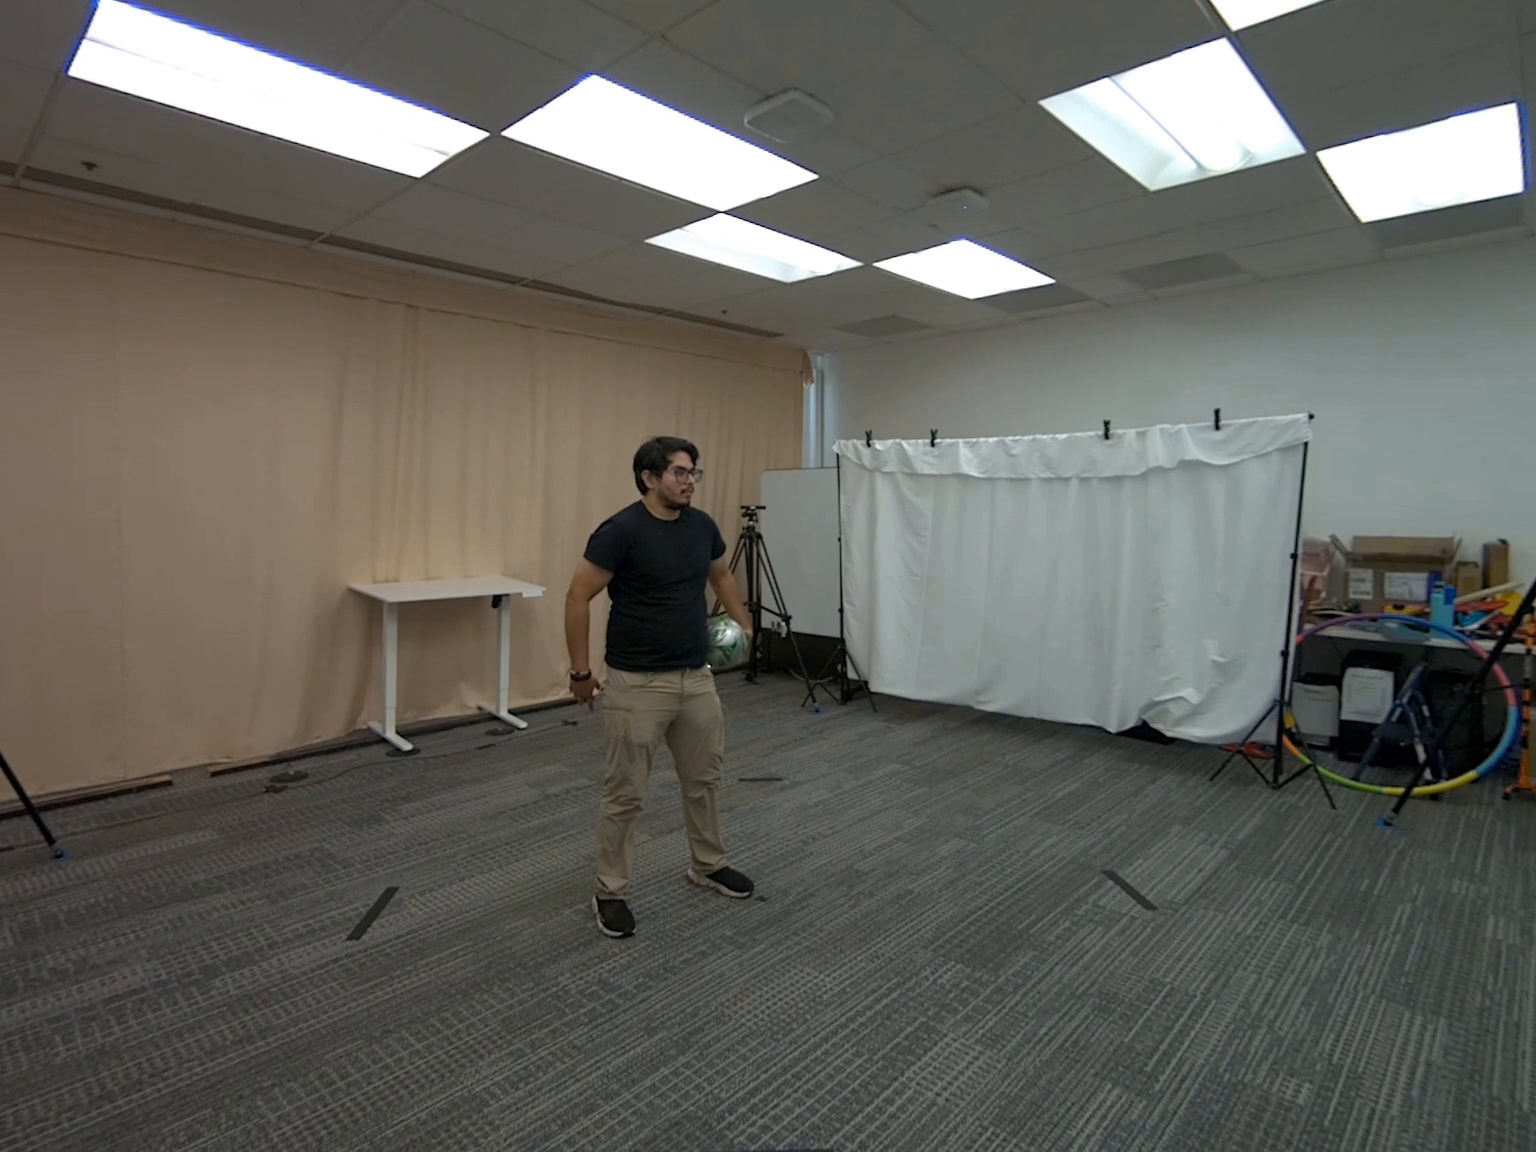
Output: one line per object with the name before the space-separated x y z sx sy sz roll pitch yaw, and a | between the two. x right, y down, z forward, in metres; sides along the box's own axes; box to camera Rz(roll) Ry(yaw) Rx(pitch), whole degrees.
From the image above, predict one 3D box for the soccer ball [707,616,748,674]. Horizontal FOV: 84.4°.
soccer ball | -0.175 0.241 3.048 0.187 0.187 0.188 0 4 -2
